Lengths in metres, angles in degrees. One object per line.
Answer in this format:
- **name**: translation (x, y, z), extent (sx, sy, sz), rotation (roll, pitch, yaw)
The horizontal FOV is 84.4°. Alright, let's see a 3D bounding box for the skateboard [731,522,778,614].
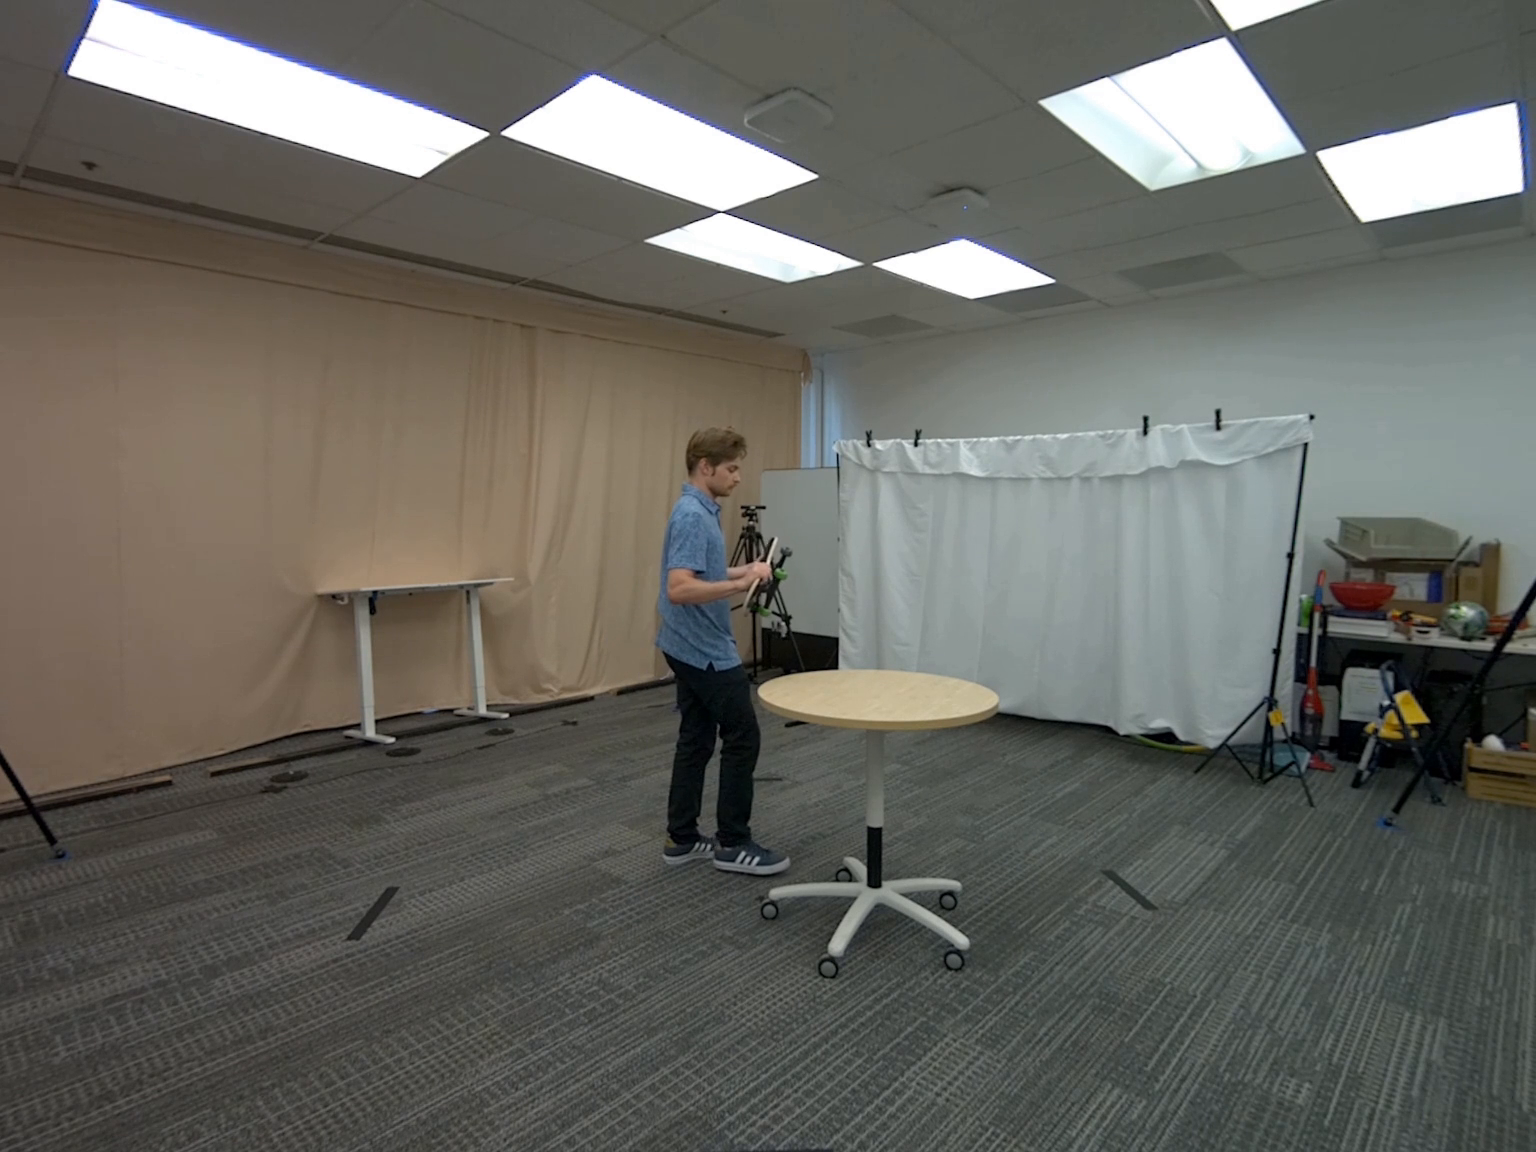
- **skateboard**: translation (0.009, 0.004, 3.269), extent (0.110, 0.193, 0.787), rotation (23, 14, -2)
